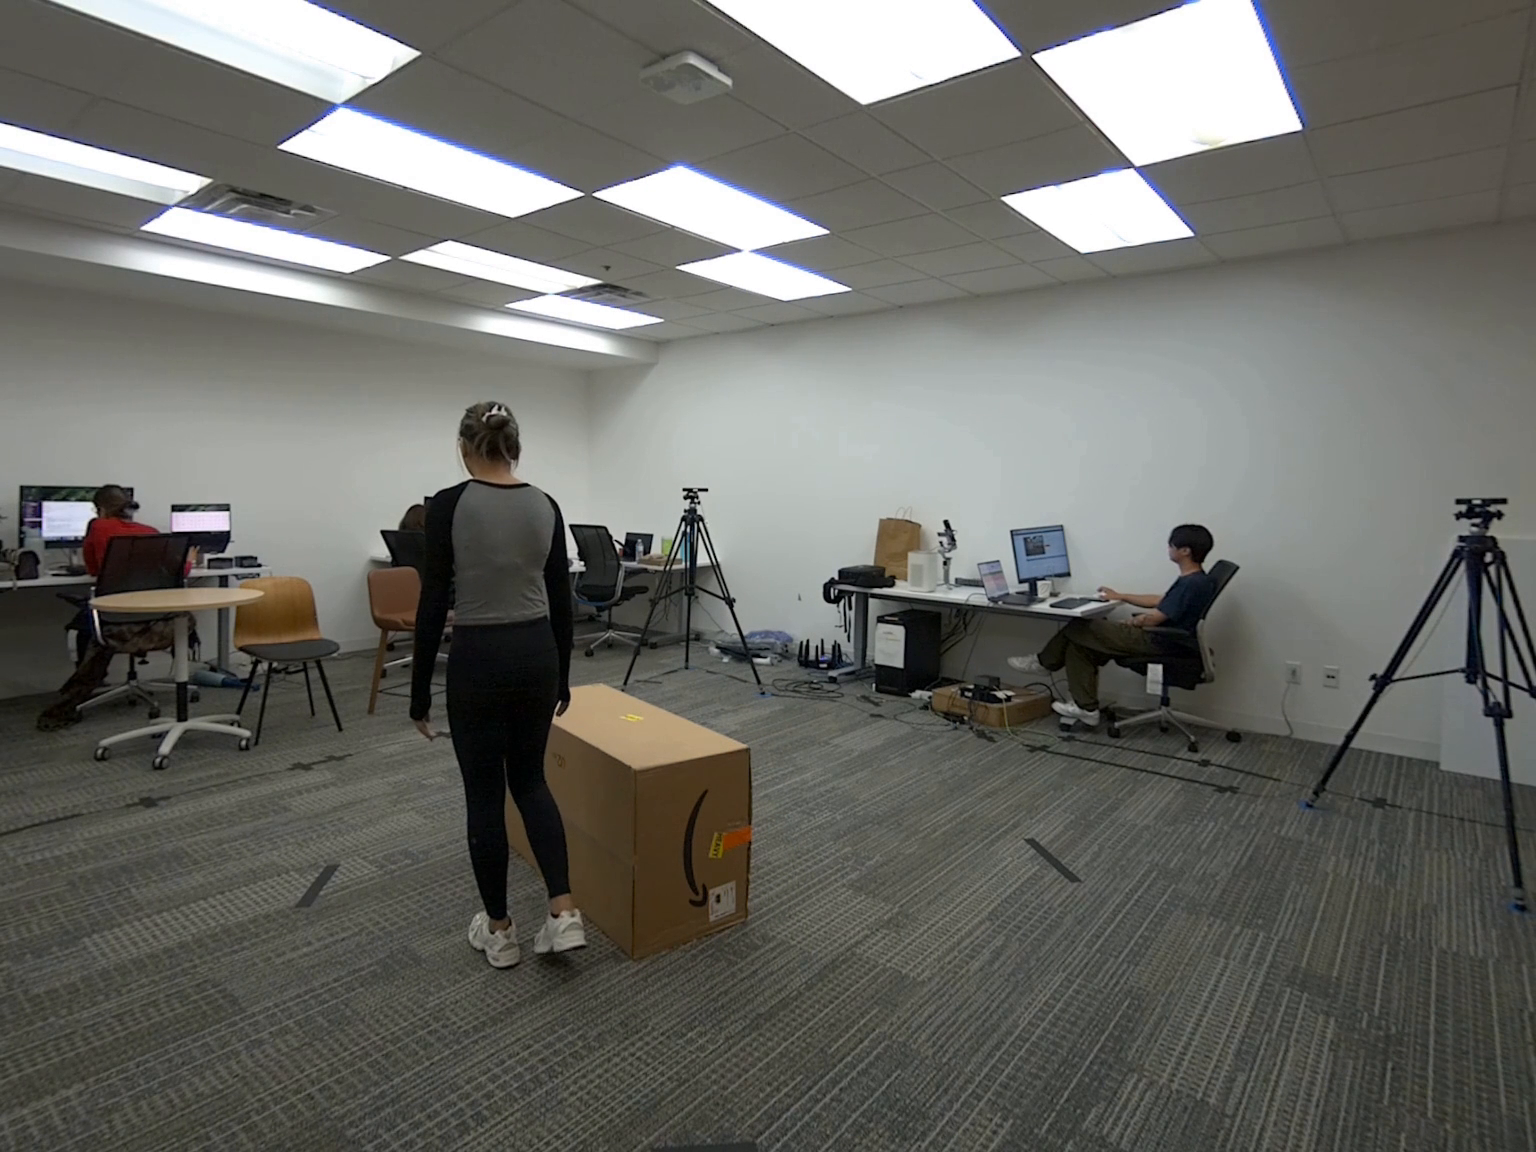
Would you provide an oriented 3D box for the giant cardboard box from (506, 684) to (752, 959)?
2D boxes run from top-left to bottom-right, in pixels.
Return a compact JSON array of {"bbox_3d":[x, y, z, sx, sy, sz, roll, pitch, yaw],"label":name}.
[{"bbox_3d":[-0.545,0.786,3.012,0.414,0.575,1.060,-2,6,-37],"label":"giant cardboard box"}]
